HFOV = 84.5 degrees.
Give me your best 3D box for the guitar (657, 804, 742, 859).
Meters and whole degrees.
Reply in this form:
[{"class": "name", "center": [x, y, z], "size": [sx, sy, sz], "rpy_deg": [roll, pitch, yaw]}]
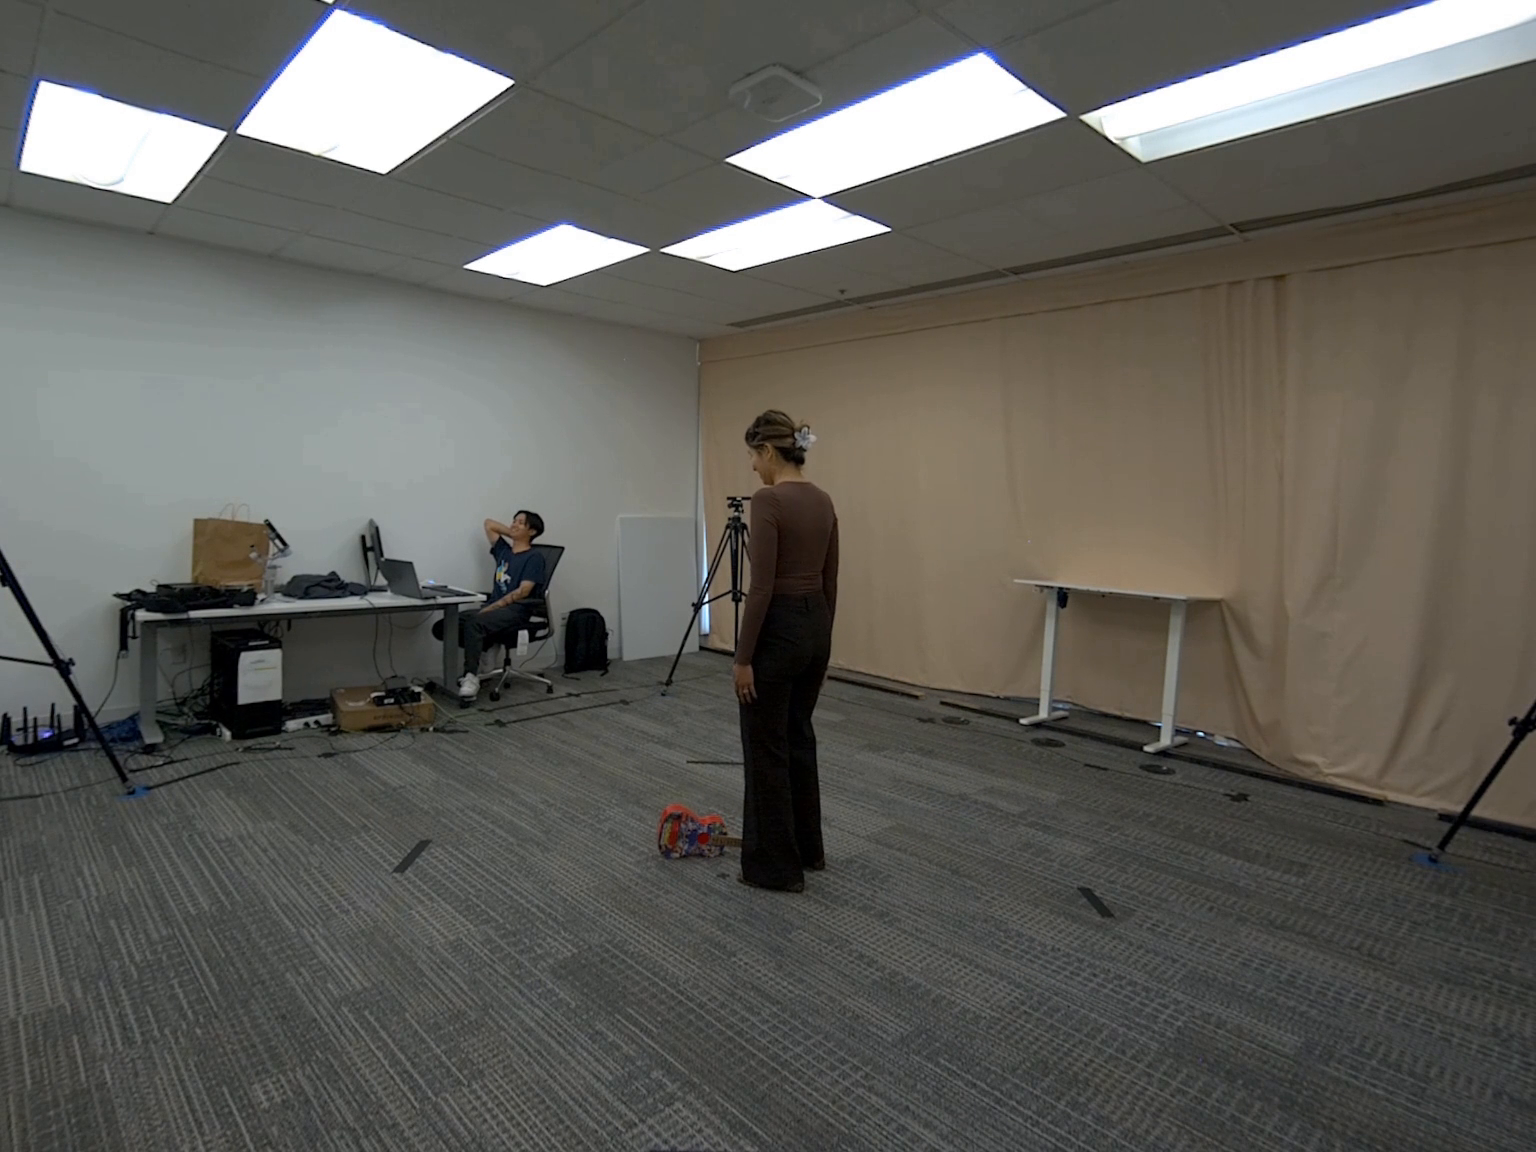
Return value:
[{"class": "guitar", "center": [-0.201, 1.042, 3.287], "size": [0.492, 0.193, 0.071], "rpy_deg": [19, 2, -11]}]
